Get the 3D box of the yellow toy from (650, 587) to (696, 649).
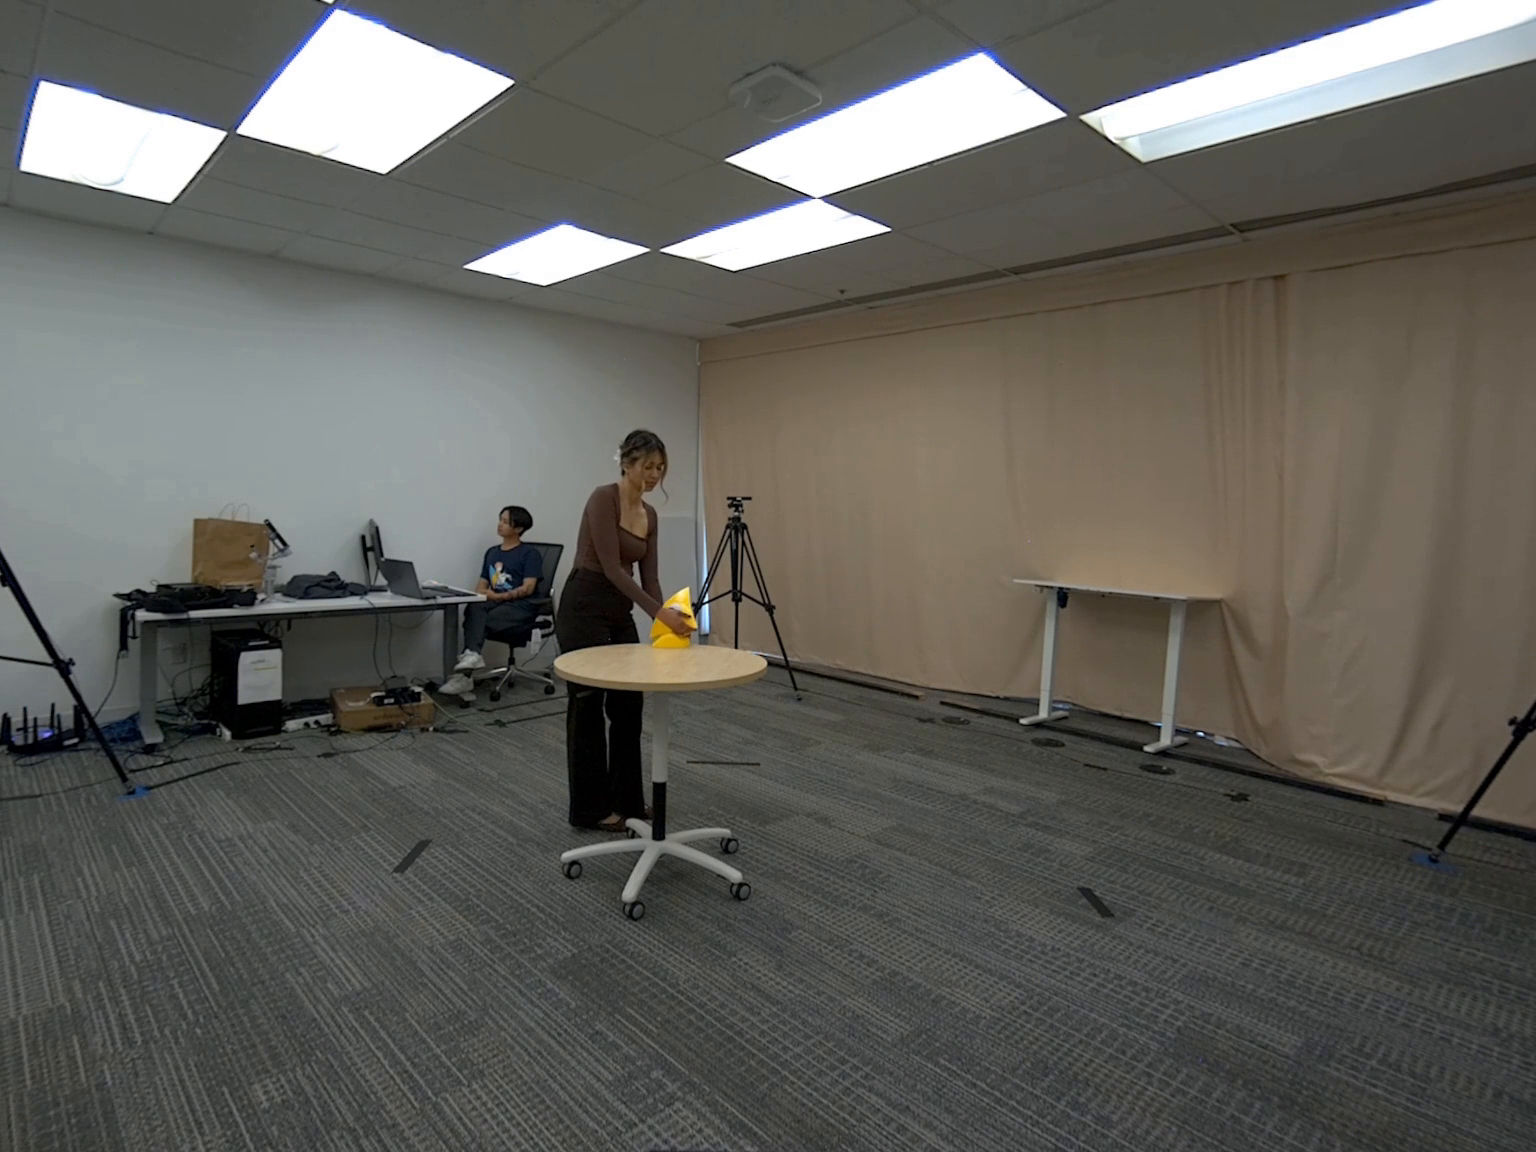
[{"bbox_3d":[-0.396,0.156,3.432,0.191,0.230,0.207,2,6,-9],"label":"yellow toy"}]
